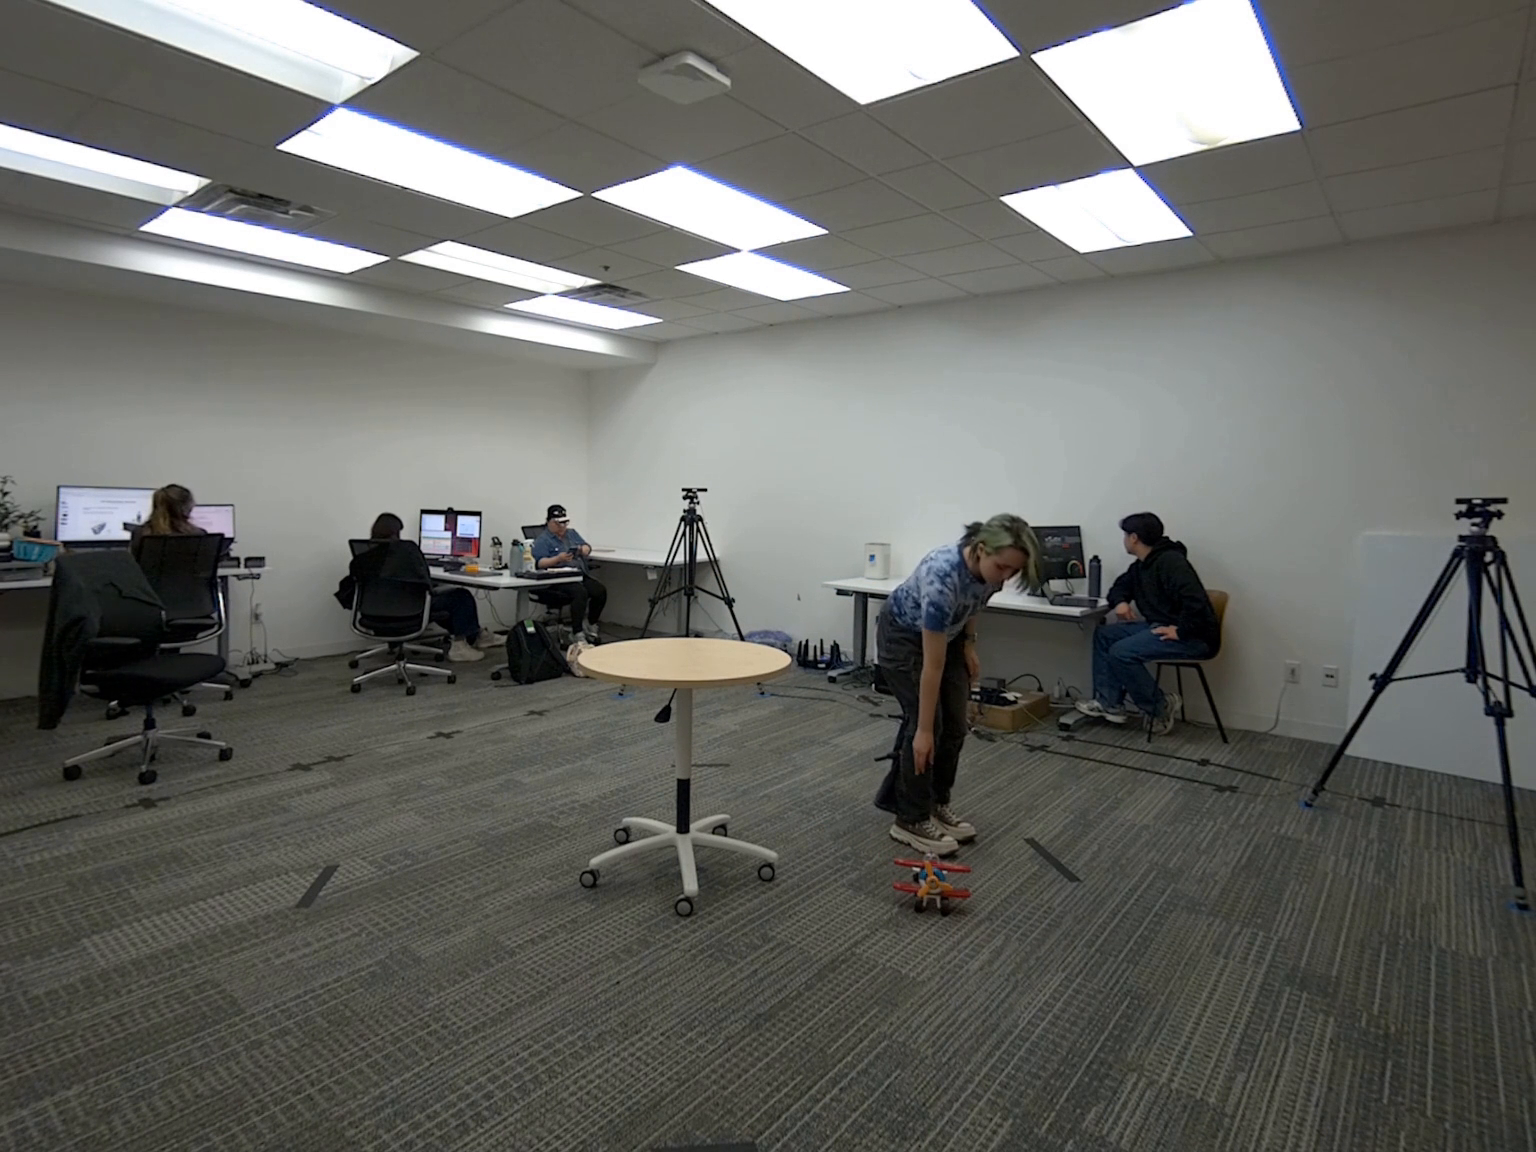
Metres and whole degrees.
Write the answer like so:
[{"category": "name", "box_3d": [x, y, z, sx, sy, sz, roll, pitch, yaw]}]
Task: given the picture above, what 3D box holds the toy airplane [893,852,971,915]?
[{"category": "toy airplane", "box_3d": [0.530, 1.032, 2.912, 0.246, 0.156, 0.266, 0, 7, -20]}]
